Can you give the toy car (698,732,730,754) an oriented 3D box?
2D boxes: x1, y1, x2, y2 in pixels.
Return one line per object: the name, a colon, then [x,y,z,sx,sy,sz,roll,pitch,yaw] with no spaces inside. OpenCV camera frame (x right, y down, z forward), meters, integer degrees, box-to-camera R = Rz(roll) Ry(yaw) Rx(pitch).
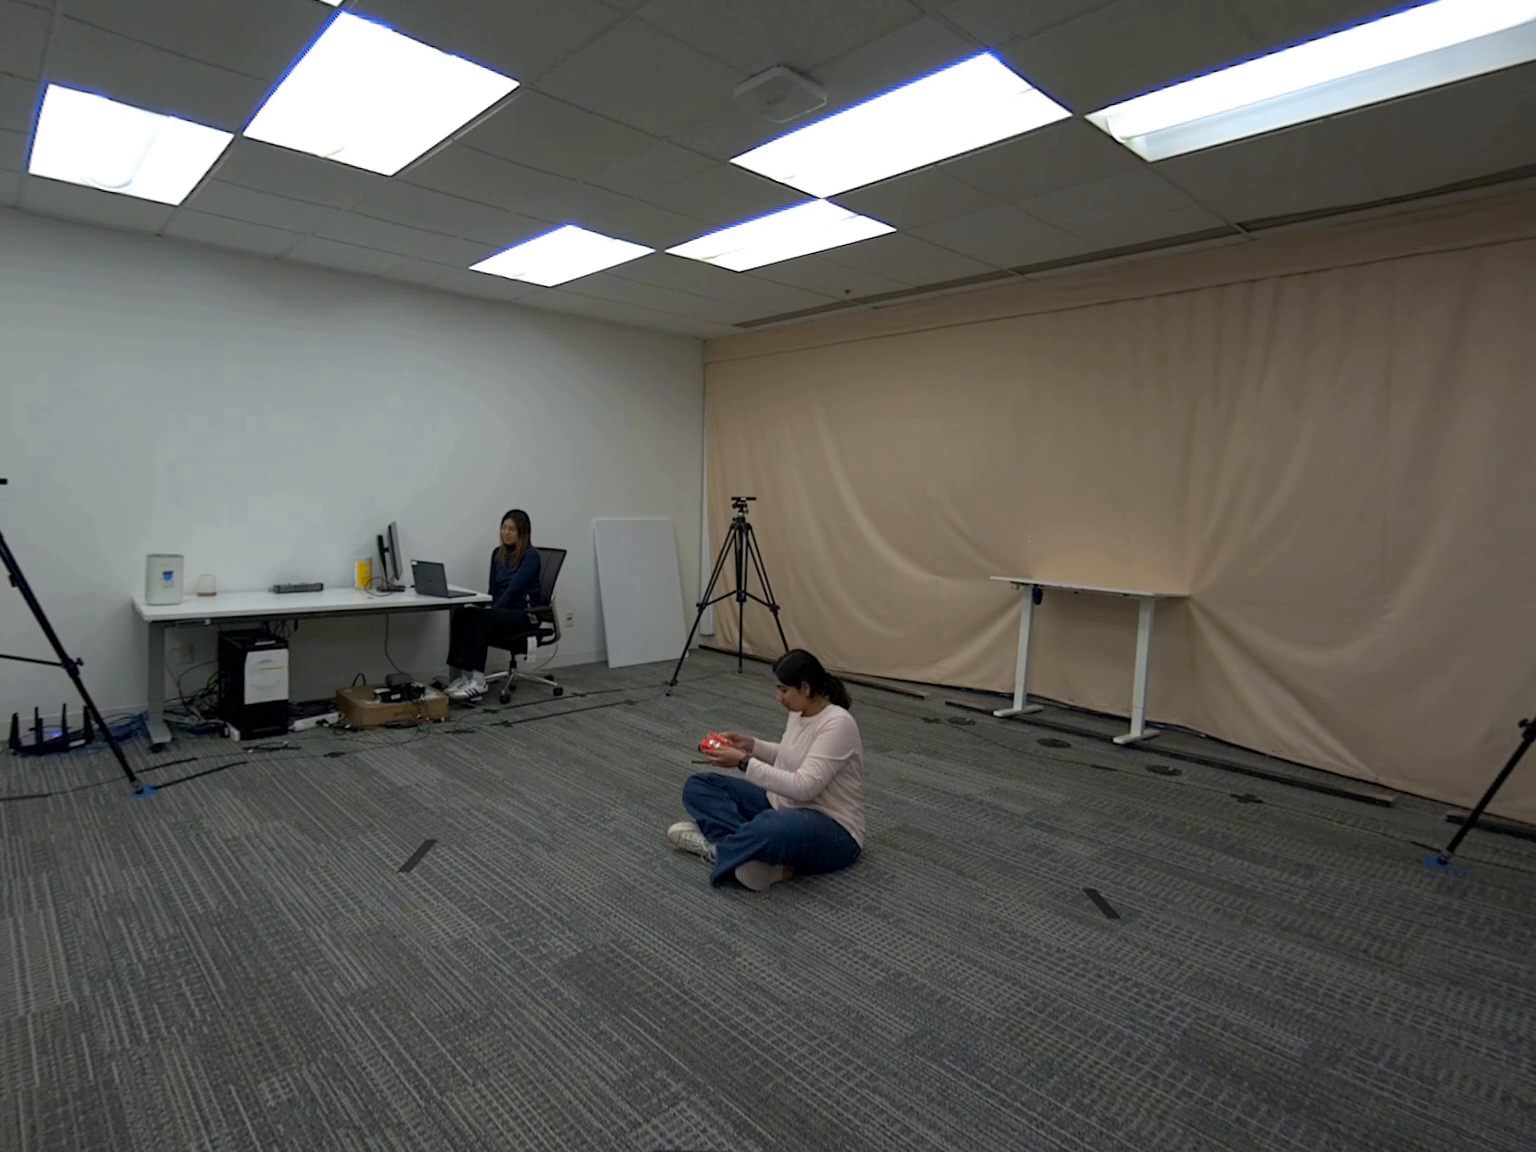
toy car: [-0.210,0.692,3.410,0.131,0.083,0.252,26,-5,7]
